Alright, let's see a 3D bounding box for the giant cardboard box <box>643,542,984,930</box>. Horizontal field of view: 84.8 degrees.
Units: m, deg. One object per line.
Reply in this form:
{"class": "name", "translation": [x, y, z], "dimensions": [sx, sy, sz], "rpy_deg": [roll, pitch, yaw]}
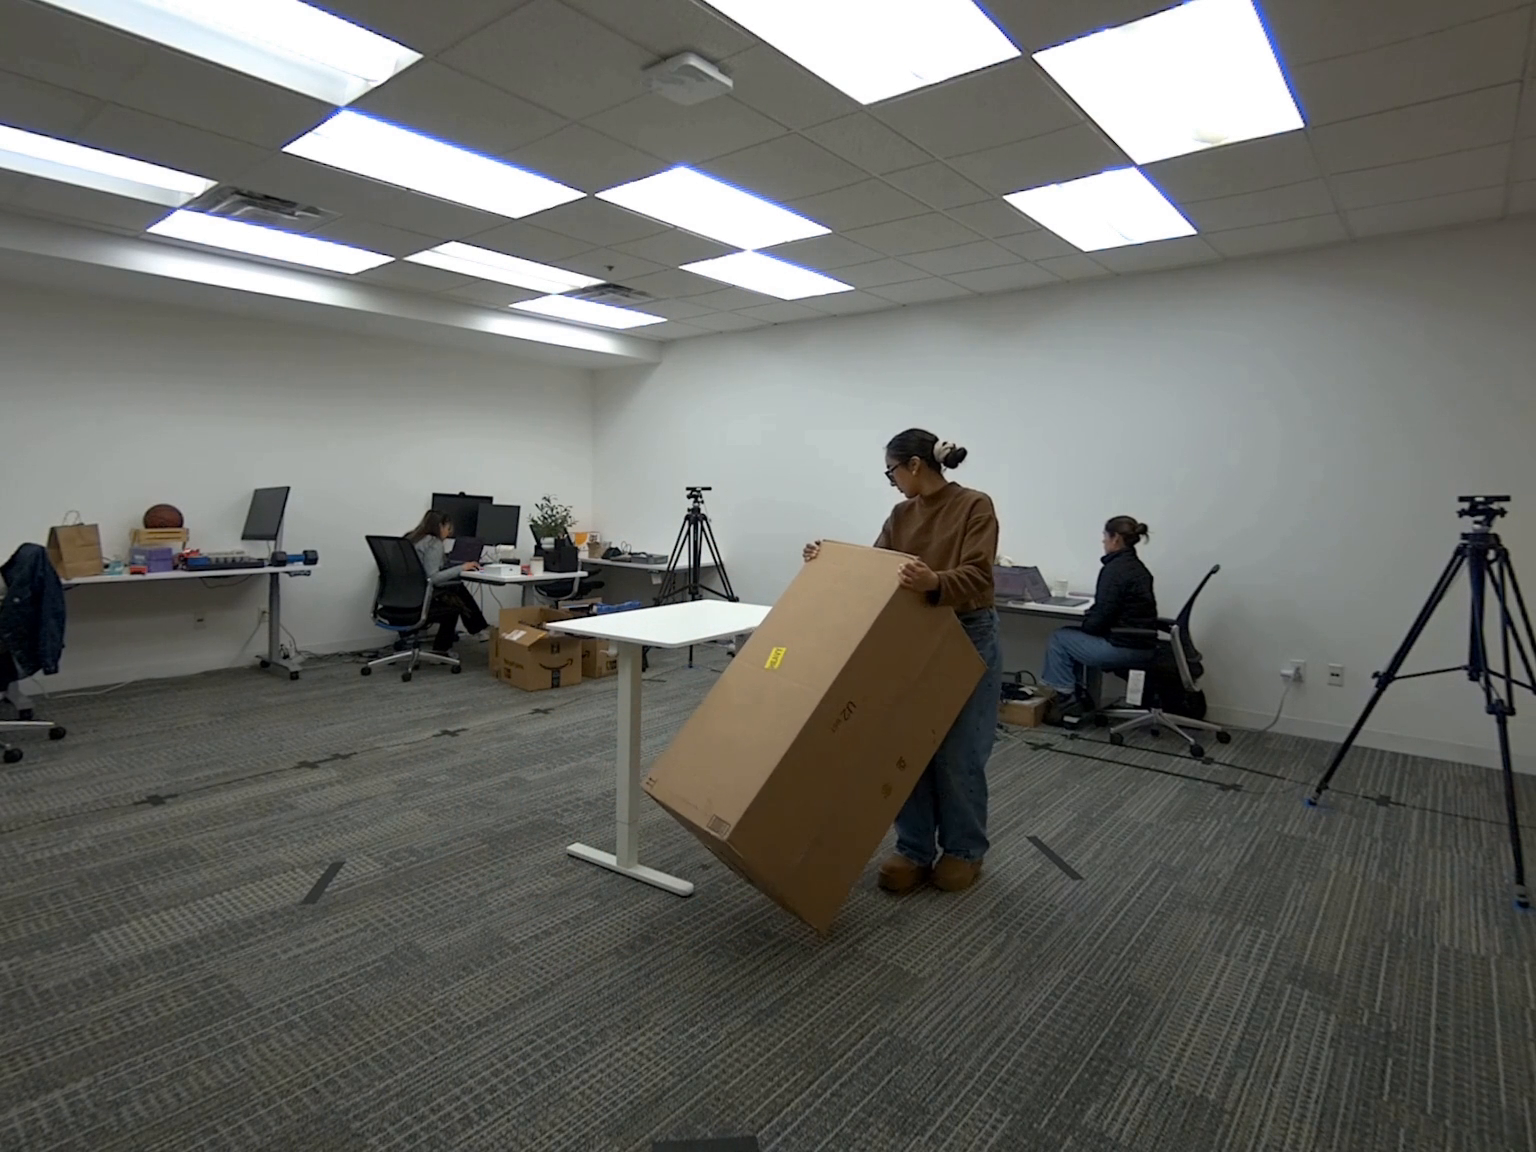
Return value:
{"class": "giant cardboard box", "translation": [0.166, 0.482, 2.724], "dimensions": [0.442, 1.028, 0.556], "rpy_deg": [12, -31, 50]}
